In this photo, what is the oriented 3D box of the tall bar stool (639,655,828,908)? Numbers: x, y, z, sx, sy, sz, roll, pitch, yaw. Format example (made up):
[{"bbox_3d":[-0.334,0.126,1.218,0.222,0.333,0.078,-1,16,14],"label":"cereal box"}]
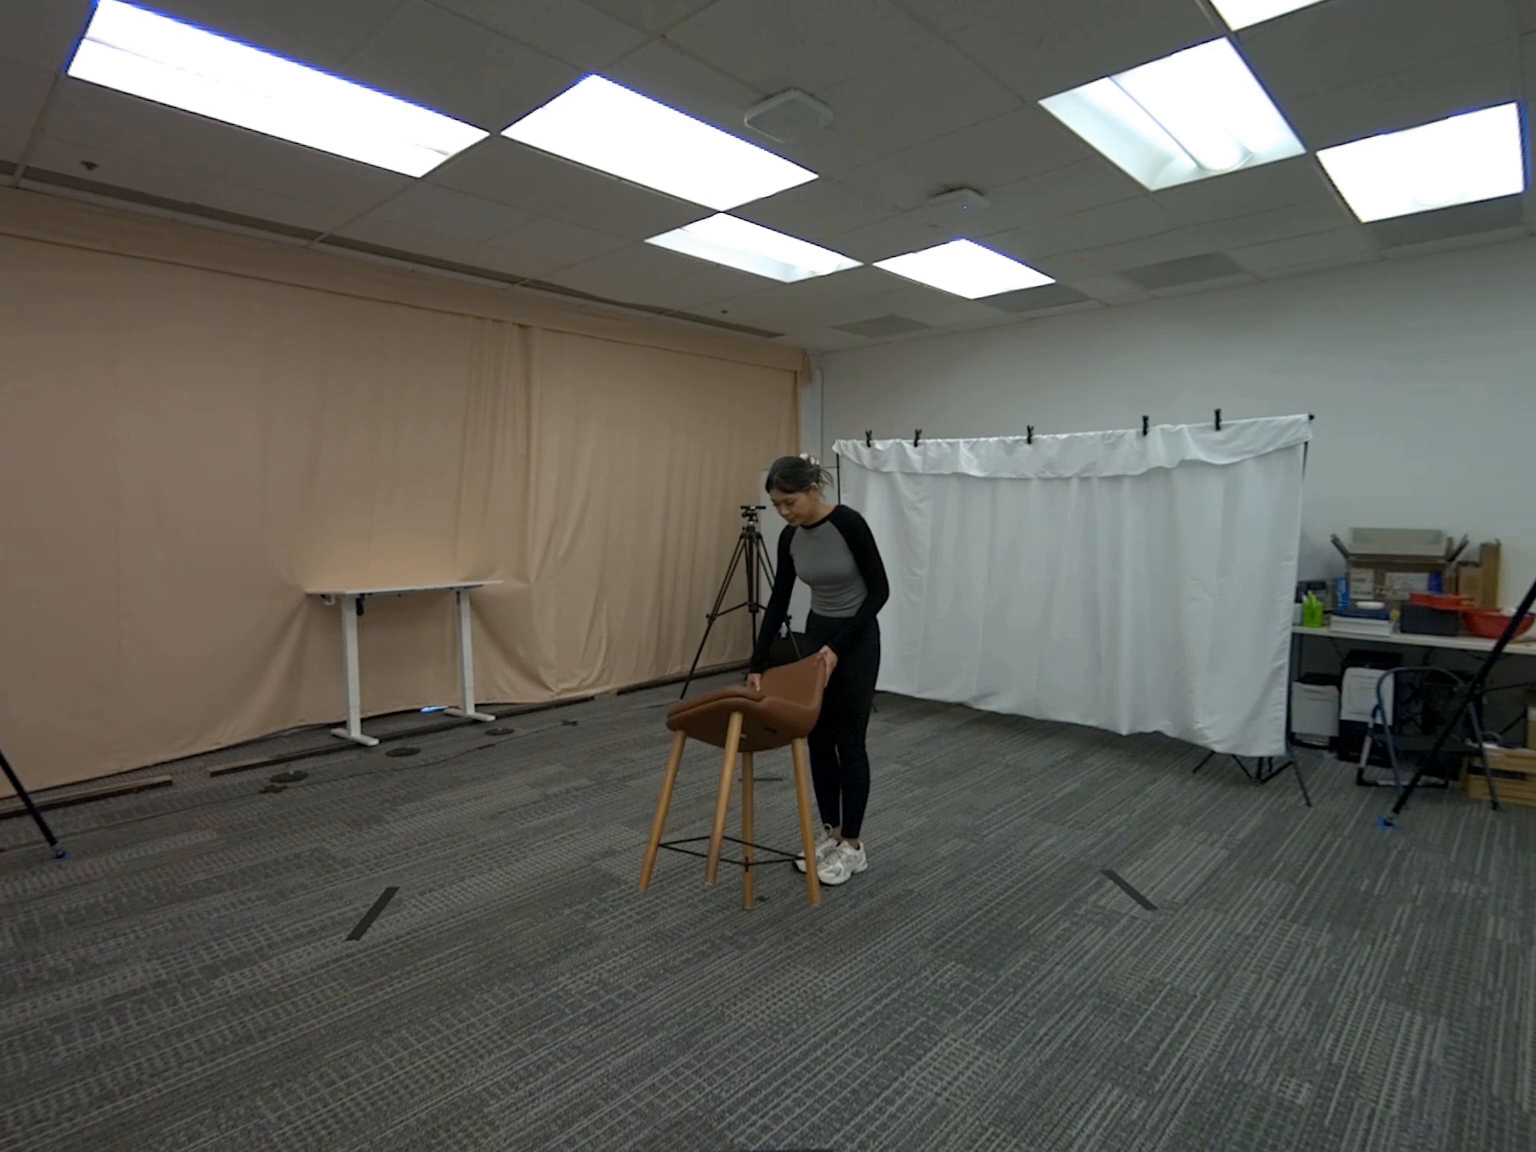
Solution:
[{"bbox_3d":[-0.084,0.637,2.882,0.453,0.901,0.465,24,-33,-29],"label":"tall bar stool"}]
